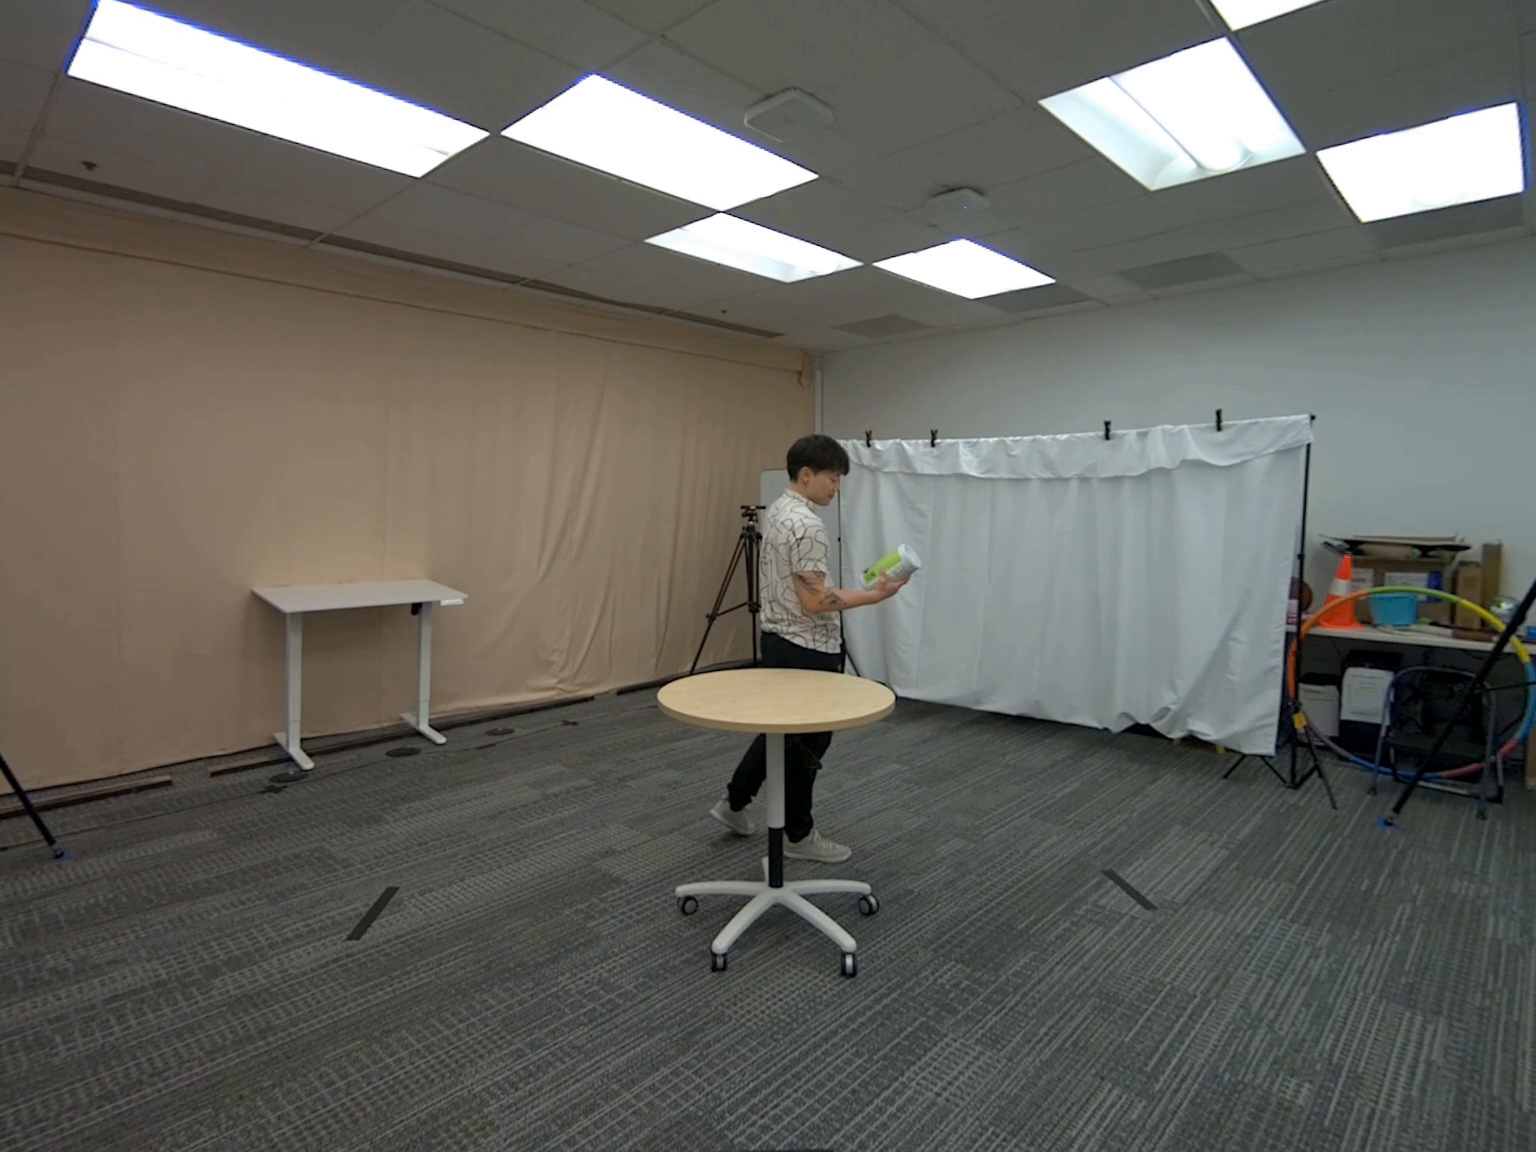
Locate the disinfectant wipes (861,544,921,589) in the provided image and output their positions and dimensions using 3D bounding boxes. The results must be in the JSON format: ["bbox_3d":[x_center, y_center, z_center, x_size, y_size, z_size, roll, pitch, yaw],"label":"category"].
[{"bbox_3d":[0.460,-0.021,3.133,0.220,0.119,0.115,-35,-13,25],"label":"disinfectant wipes"}]
